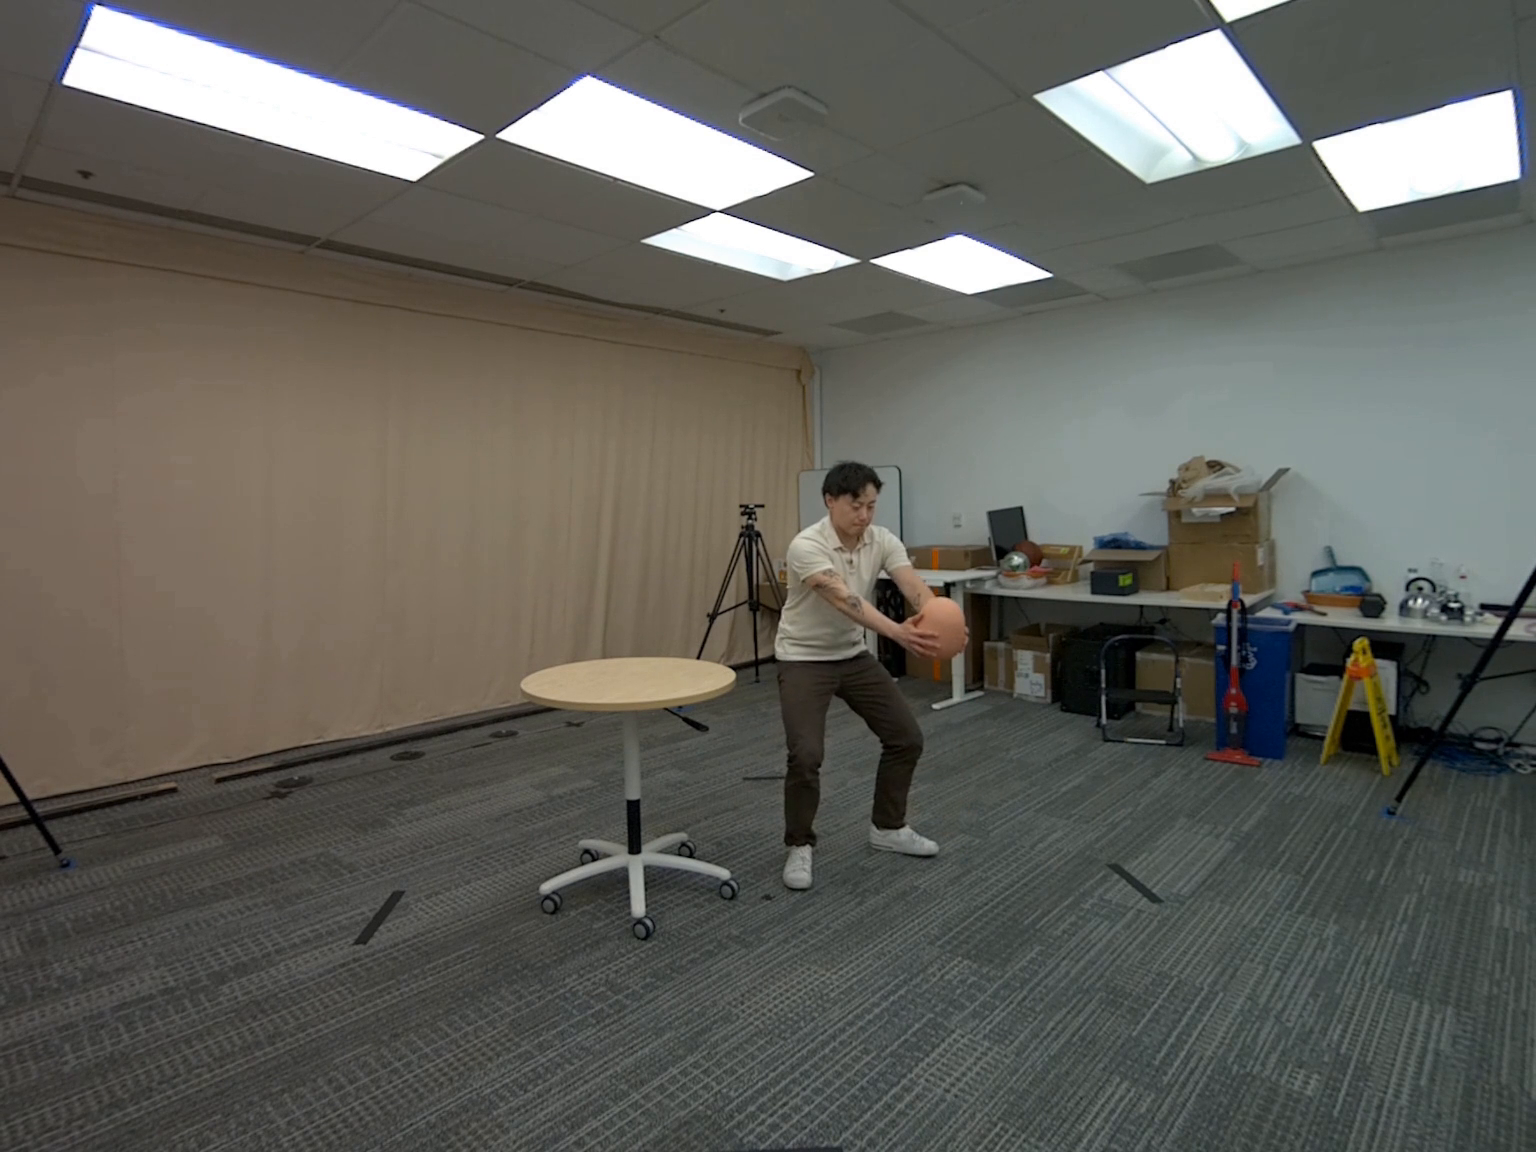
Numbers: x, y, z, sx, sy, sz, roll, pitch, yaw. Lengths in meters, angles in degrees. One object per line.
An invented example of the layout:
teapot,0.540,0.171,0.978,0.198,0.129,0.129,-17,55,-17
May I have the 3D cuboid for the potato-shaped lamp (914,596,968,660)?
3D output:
potato-shaped lamp,0.556,0.169,2.748,0.161,0.196,0.177,-7,20,-22
